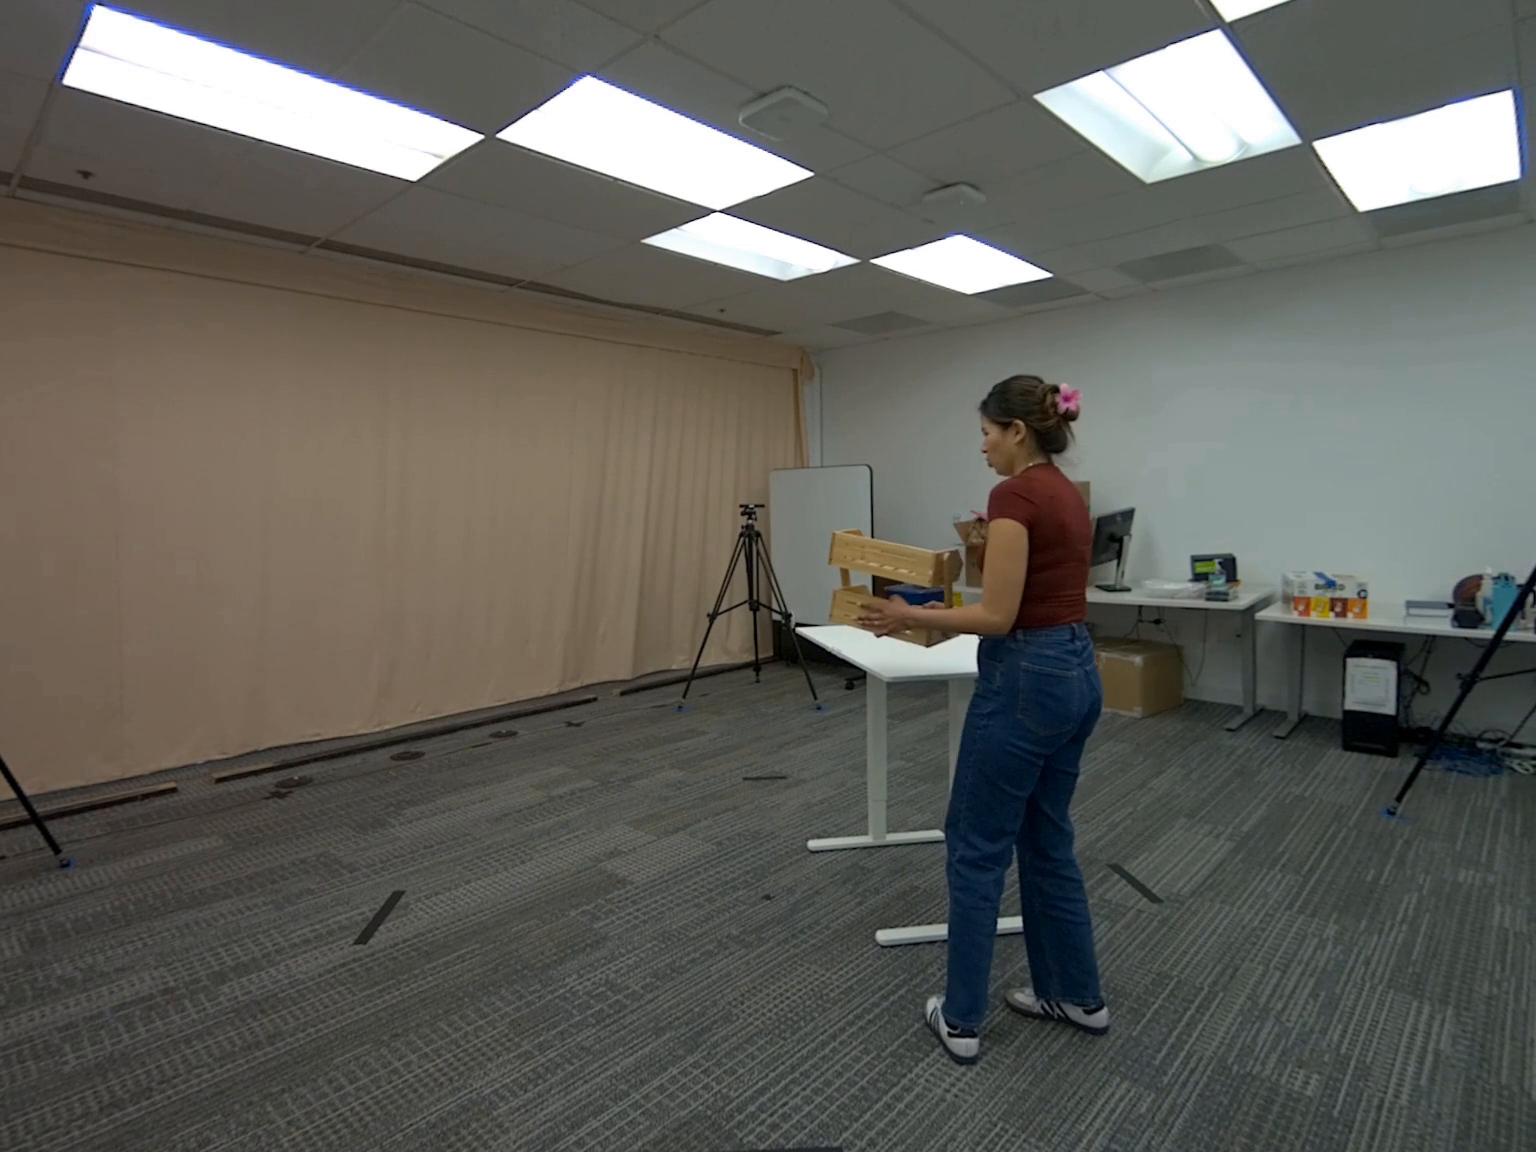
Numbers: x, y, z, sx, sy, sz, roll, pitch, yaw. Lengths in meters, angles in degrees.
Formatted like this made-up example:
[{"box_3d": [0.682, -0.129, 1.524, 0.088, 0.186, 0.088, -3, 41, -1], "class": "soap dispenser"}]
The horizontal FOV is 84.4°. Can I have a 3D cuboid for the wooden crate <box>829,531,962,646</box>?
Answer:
[{"box_3d": [0.378, 0.022, 2.345, 0.335, 0.272, 0.293, 13, 12, 33], "class": "wooden crate"}]
